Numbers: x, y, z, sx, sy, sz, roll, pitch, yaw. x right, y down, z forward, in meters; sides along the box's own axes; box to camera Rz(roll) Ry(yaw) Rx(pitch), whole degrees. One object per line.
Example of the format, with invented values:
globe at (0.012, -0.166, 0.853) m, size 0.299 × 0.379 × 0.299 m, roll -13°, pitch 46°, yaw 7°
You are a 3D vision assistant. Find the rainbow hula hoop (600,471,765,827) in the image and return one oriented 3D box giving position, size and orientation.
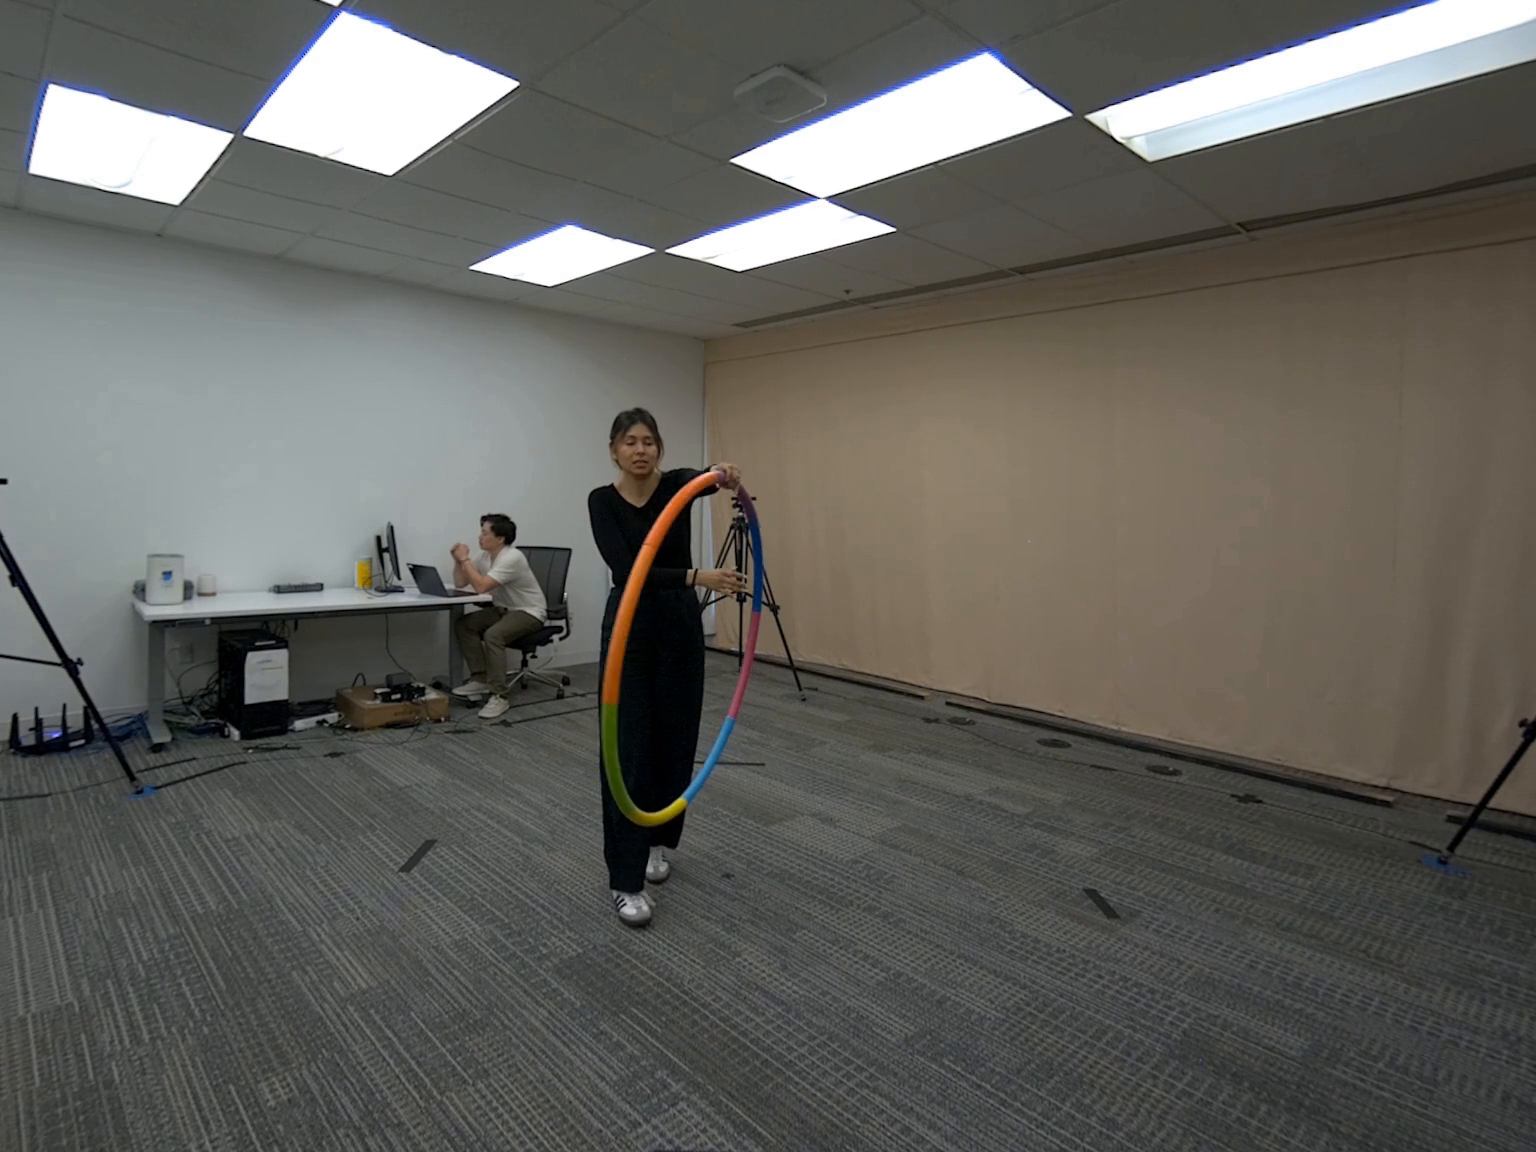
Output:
rainbow hula hoop at (-0.205, 0.200, 2.372) m, size 0.052 × 0.981 × 0.971 m, roll 10°, pitch 7°, yaw 20°
